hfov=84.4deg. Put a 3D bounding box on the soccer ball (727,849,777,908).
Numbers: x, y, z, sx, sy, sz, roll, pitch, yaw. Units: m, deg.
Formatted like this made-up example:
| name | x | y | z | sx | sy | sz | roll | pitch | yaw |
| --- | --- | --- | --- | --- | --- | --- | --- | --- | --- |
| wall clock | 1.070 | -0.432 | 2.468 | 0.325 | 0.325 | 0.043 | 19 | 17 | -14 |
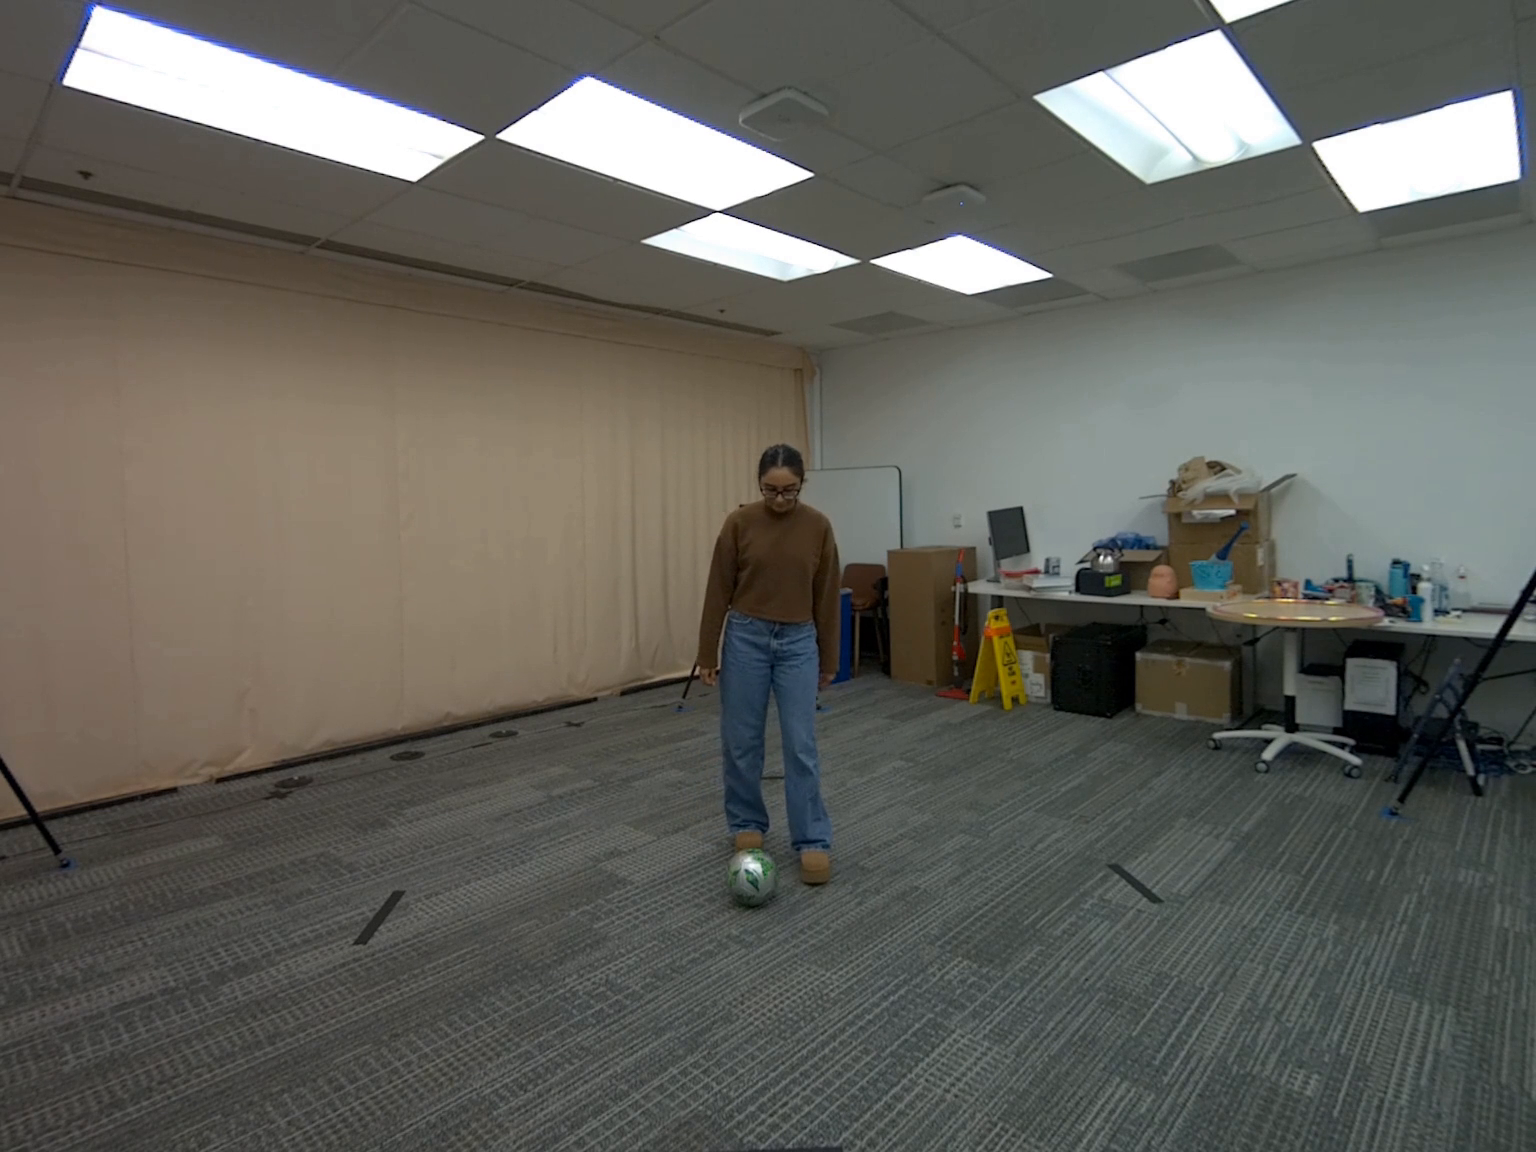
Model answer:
| name | x | y | z | sx | sy | sz | roll | pitch | yaw |
| --- | --- | --- | --- | --- | --- | --- | --- | --- | --- |
| soccer ball | -0.055 | 1.043 | 2.942 | 0.187 | 0.187 | 0.188 | -1 | 4 | -2 |
